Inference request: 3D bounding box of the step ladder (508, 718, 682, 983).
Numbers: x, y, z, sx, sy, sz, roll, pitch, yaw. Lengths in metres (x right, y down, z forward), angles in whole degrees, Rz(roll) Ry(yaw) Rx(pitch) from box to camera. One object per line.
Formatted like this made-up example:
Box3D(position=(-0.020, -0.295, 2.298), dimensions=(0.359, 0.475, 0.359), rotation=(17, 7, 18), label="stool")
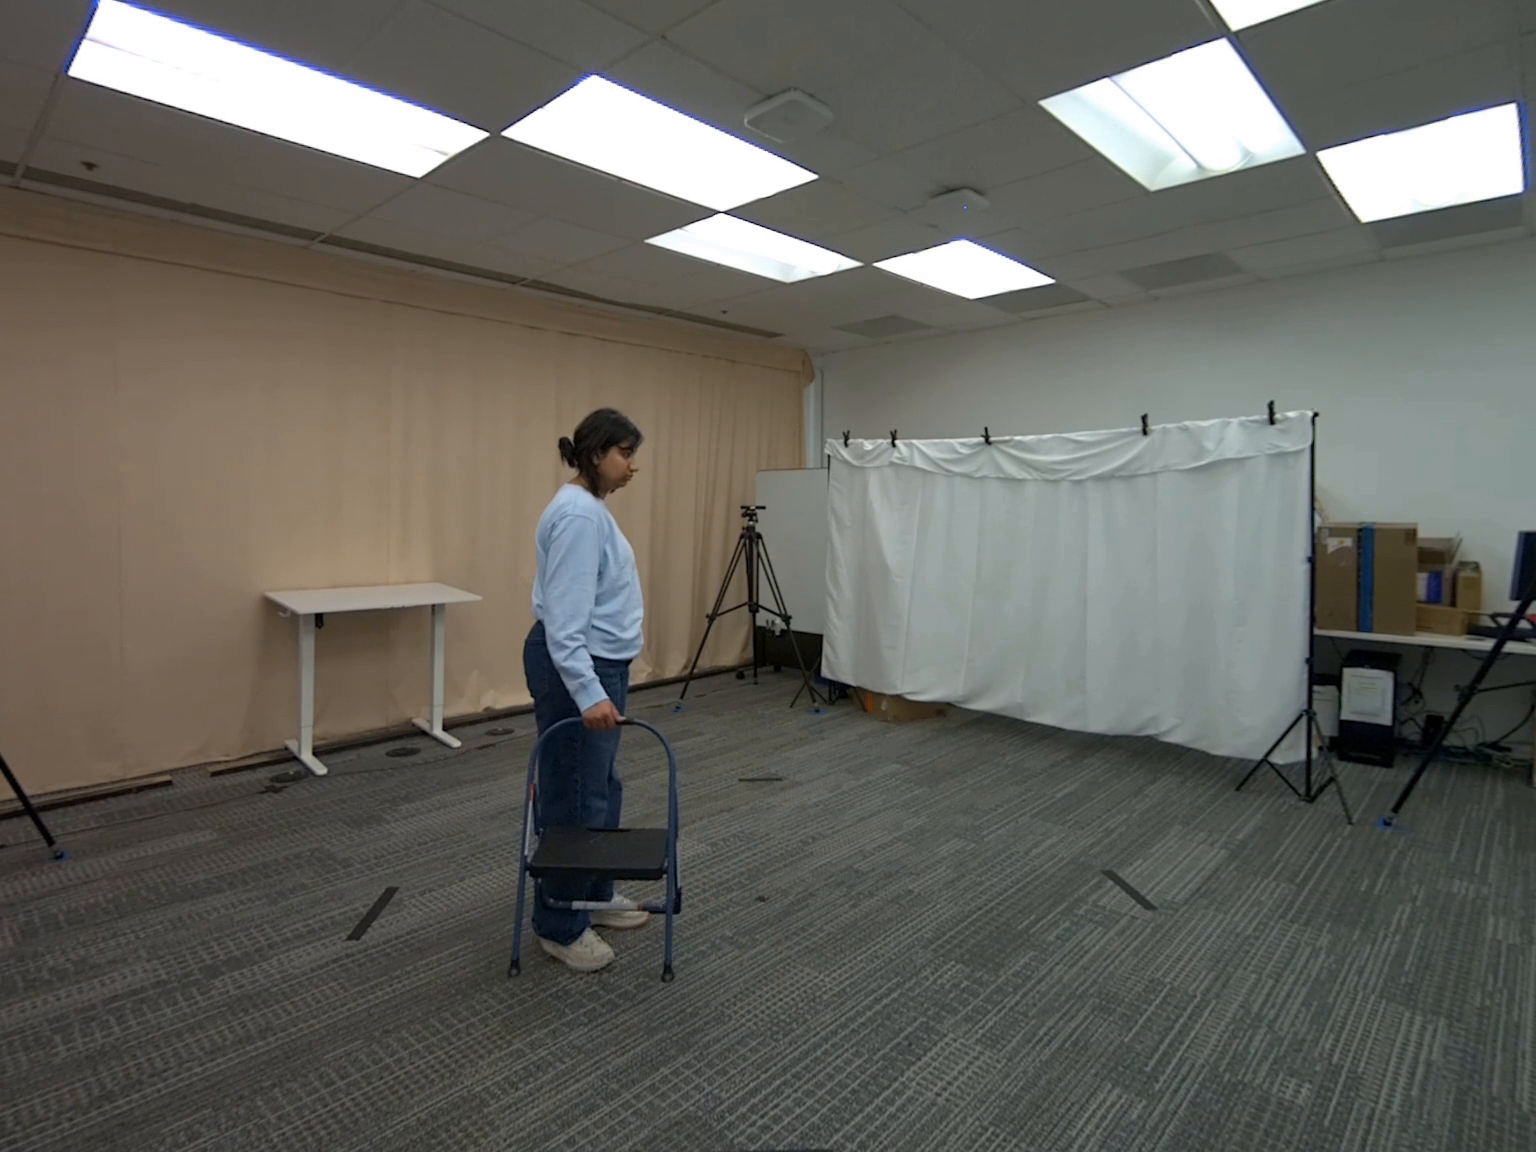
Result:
Box3D(position=(-0.447, 0.706, 2.278), dimensions=(0.431, 0.604, 0.350), rotation=(1, 6, 0), label="step ladder")
